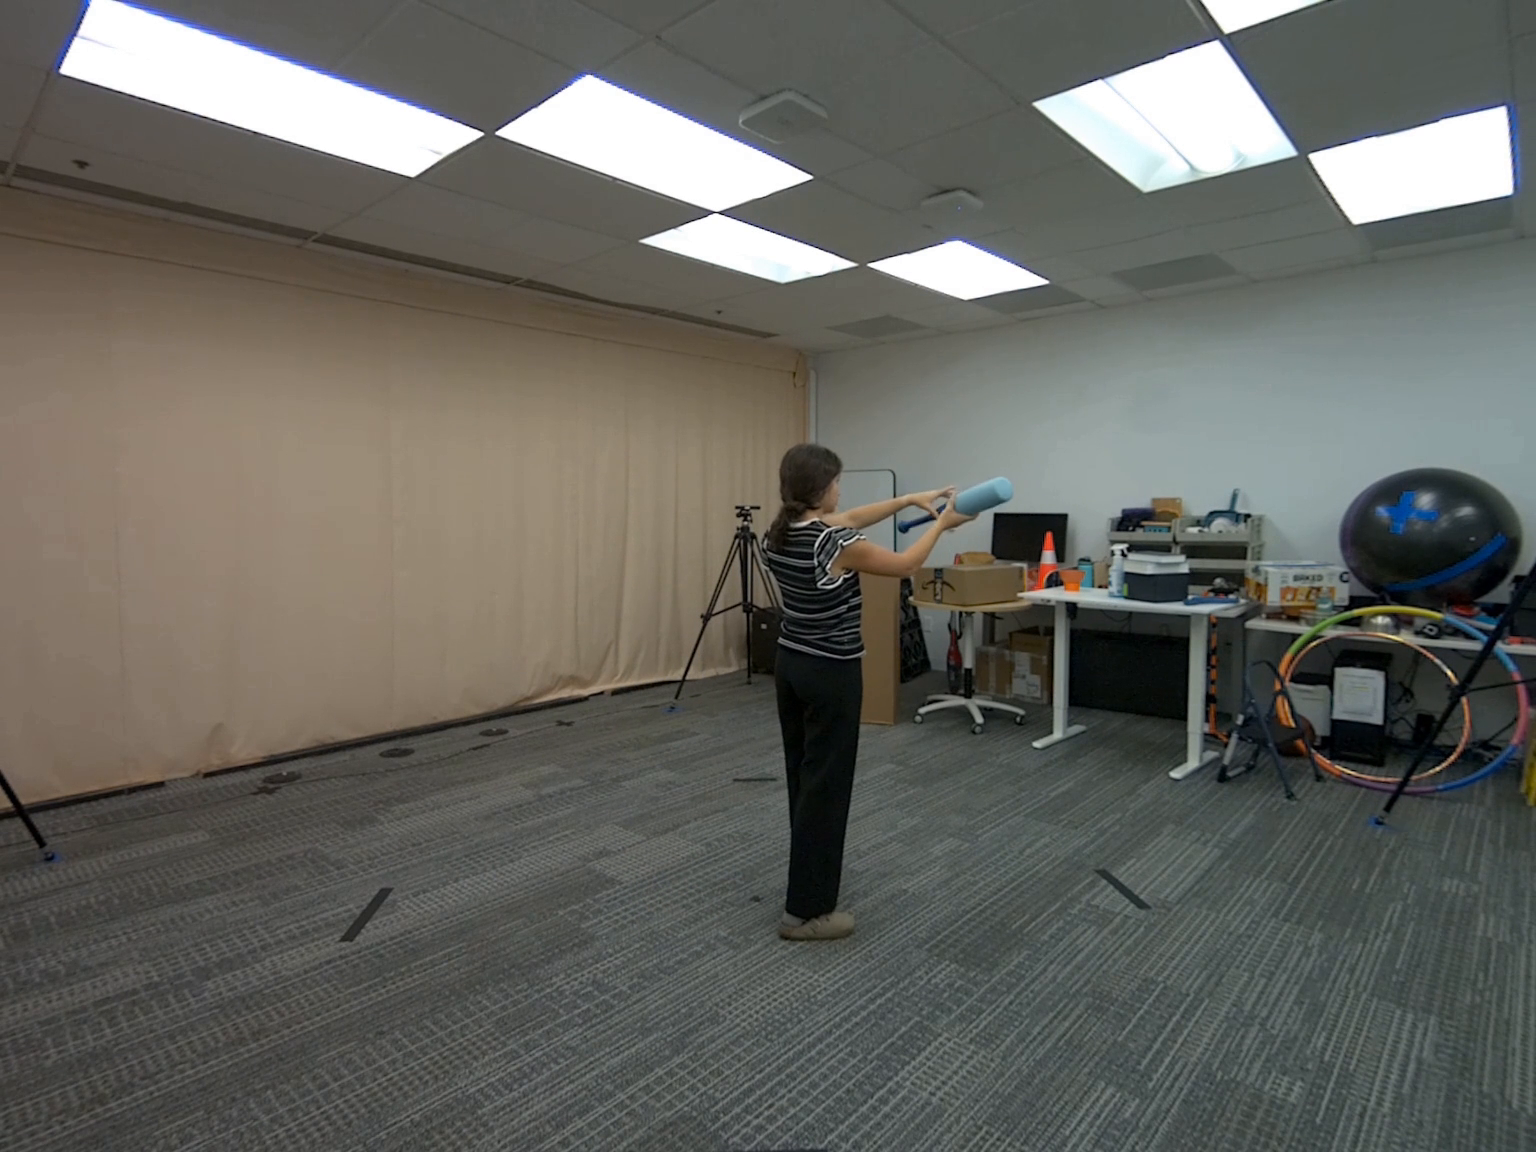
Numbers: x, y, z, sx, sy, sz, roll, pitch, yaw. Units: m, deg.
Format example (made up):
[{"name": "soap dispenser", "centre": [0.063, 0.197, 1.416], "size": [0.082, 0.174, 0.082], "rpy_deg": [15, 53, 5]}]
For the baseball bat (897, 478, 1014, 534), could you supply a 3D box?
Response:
[{"name": "baseball bat", "centre": [0.642, -0.230, 2.966], "size": [0.087, 0.090, 0.553], "rpy_deg": [-2, -10, -29]}]
